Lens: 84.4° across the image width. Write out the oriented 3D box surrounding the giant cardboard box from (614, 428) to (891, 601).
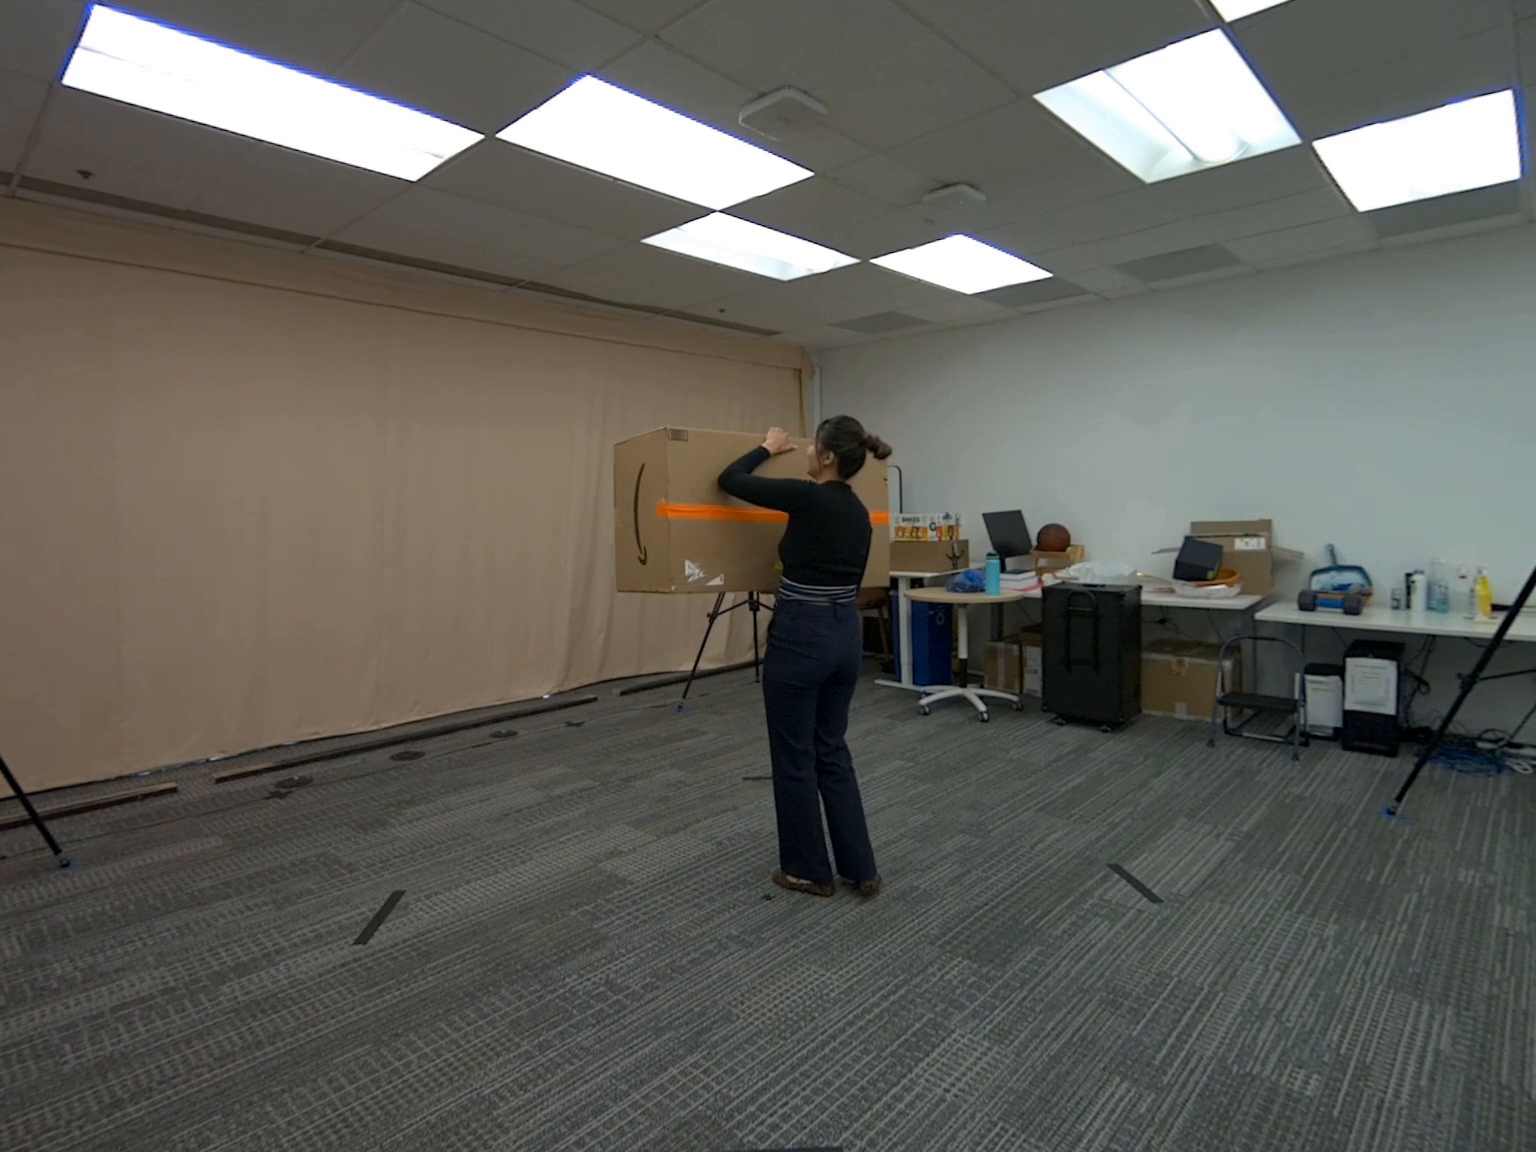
[{"bbox_3d":[-0.044,-0.232,3.315,0.996,0.578,0.438,0,-1,-33],"label":"giant cardboard box"}]
